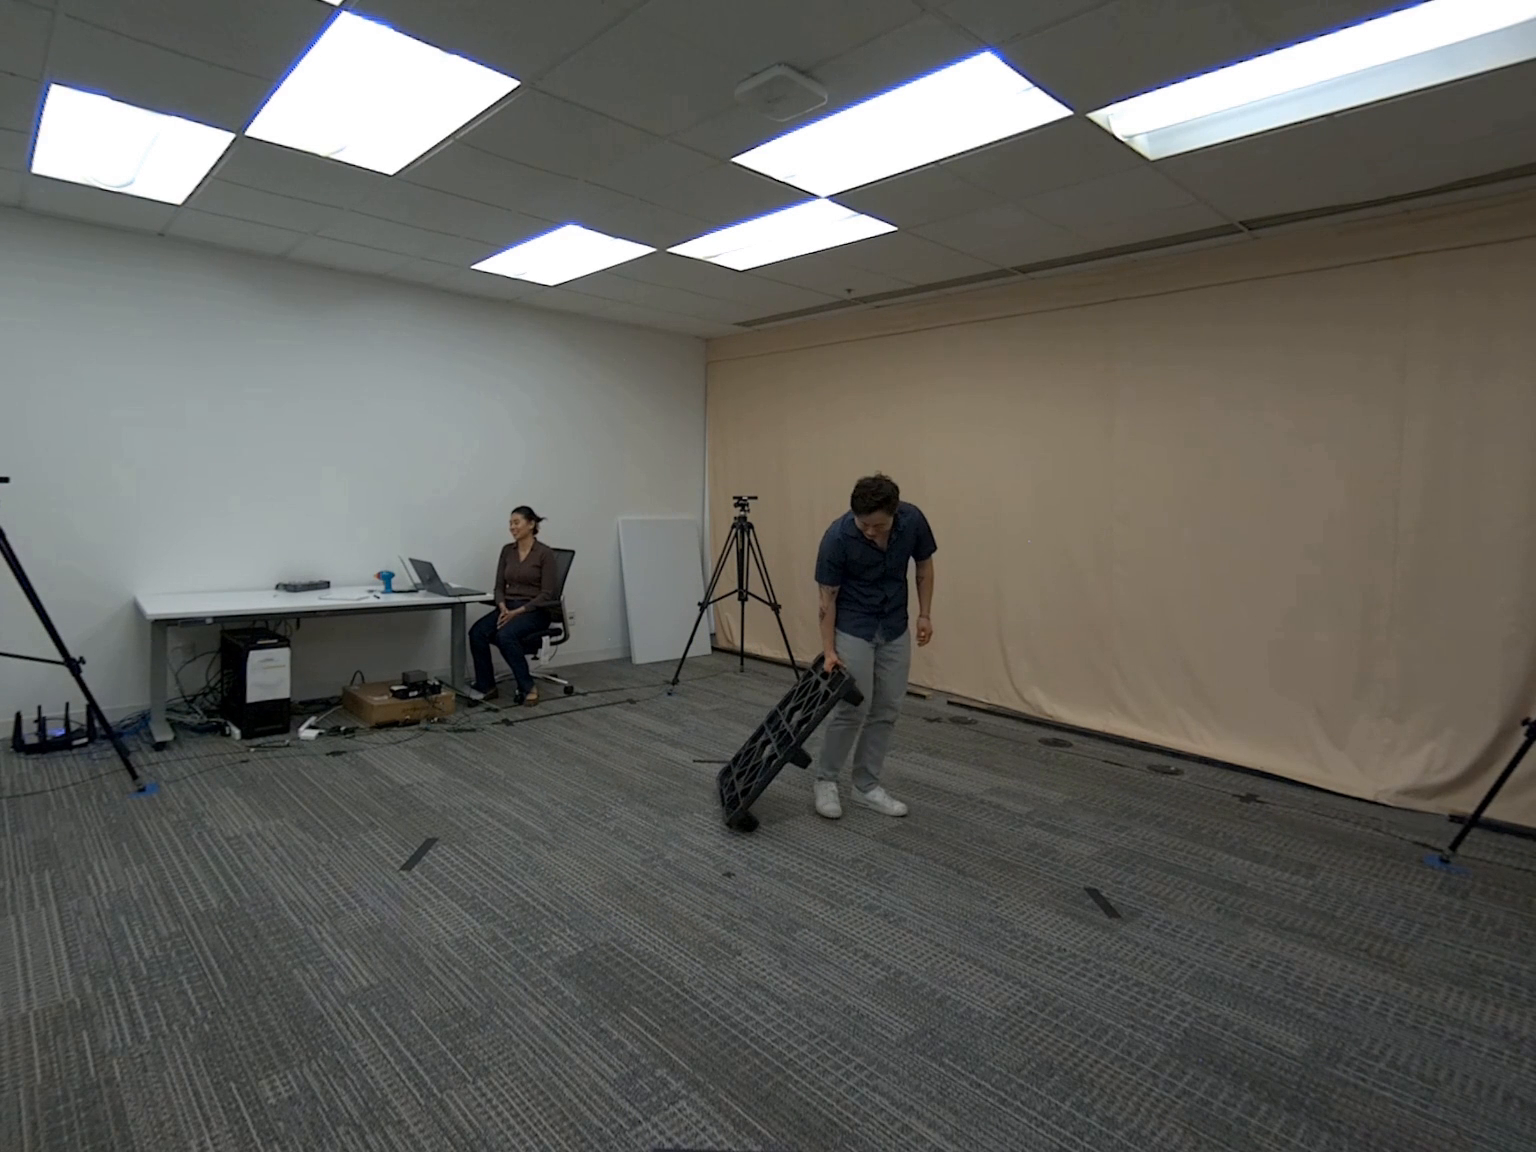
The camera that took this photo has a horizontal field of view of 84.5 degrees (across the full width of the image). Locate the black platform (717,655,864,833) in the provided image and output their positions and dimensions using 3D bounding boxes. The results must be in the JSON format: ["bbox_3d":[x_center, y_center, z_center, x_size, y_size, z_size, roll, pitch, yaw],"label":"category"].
[{"bbox_3d":[0.081,0.728,3.738,0.142,0.805,0.609,39,-1,-8],"label":"black platform"}]
